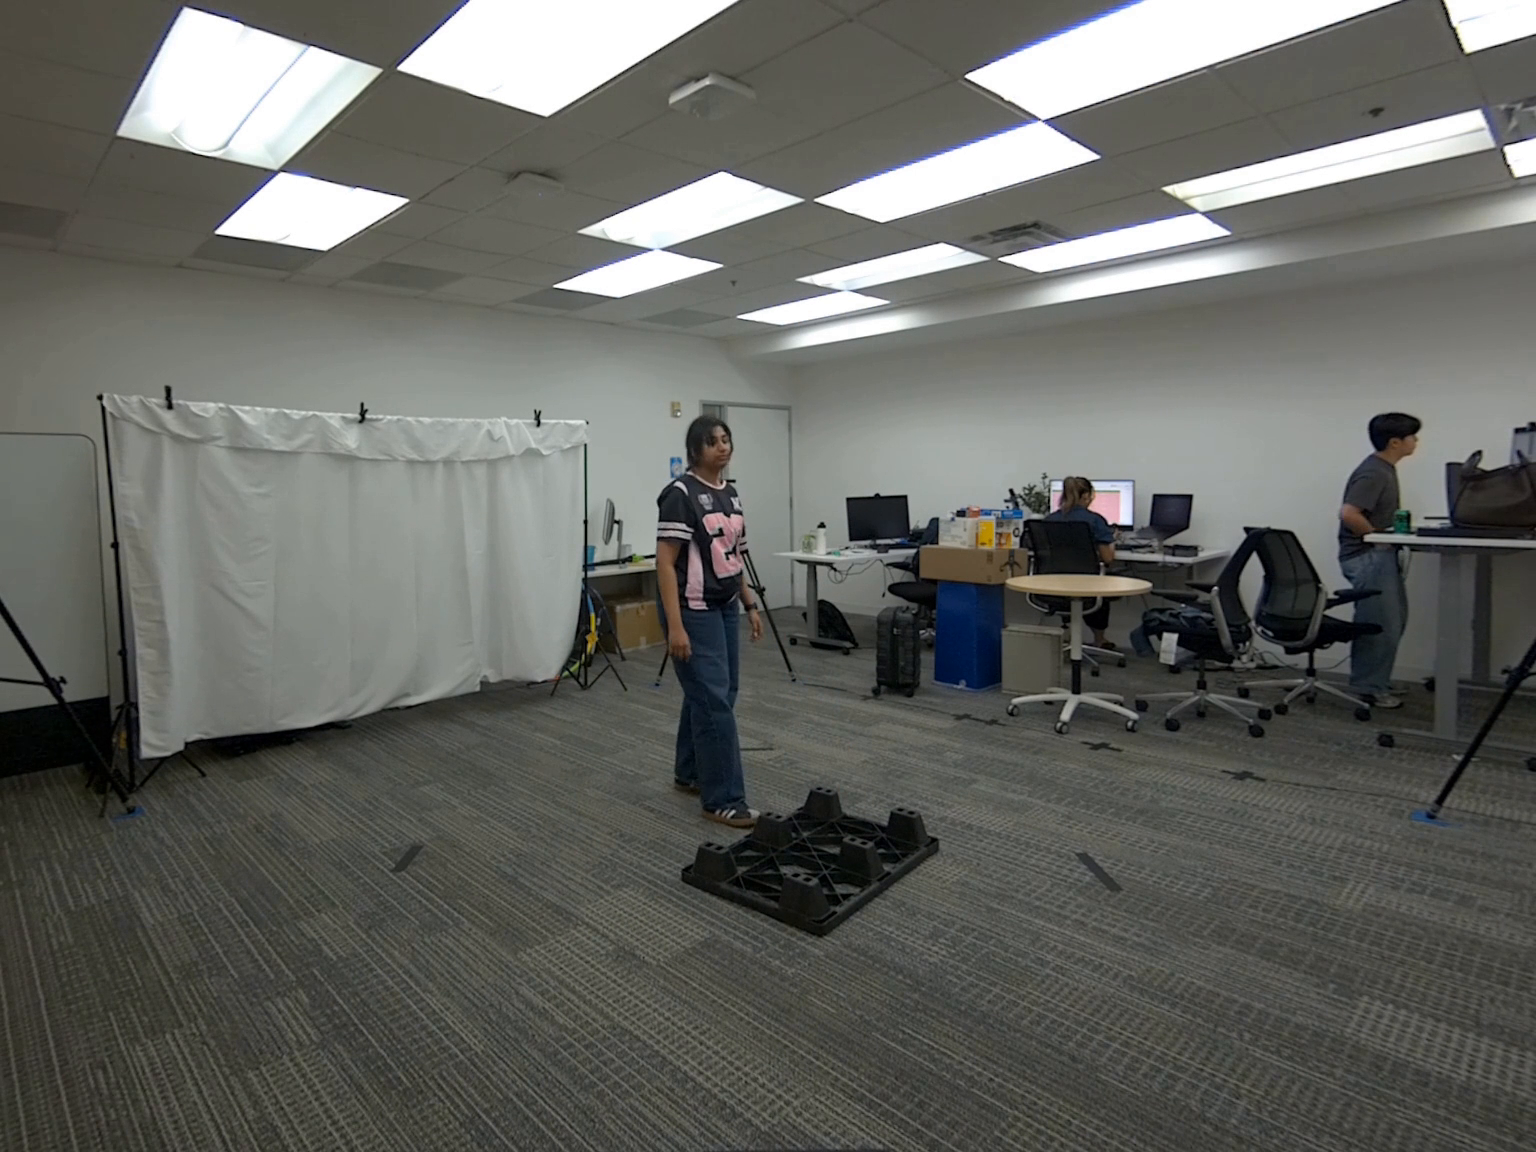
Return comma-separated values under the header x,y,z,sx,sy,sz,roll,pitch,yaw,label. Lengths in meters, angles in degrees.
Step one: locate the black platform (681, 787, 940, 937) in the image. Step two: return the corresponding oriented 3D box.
x,y,z,sx,sy,sz,roll,pitch,yaw,label
0.173,0.982,3.080,0.623,0.143,0.785,3,8,39,black platform
